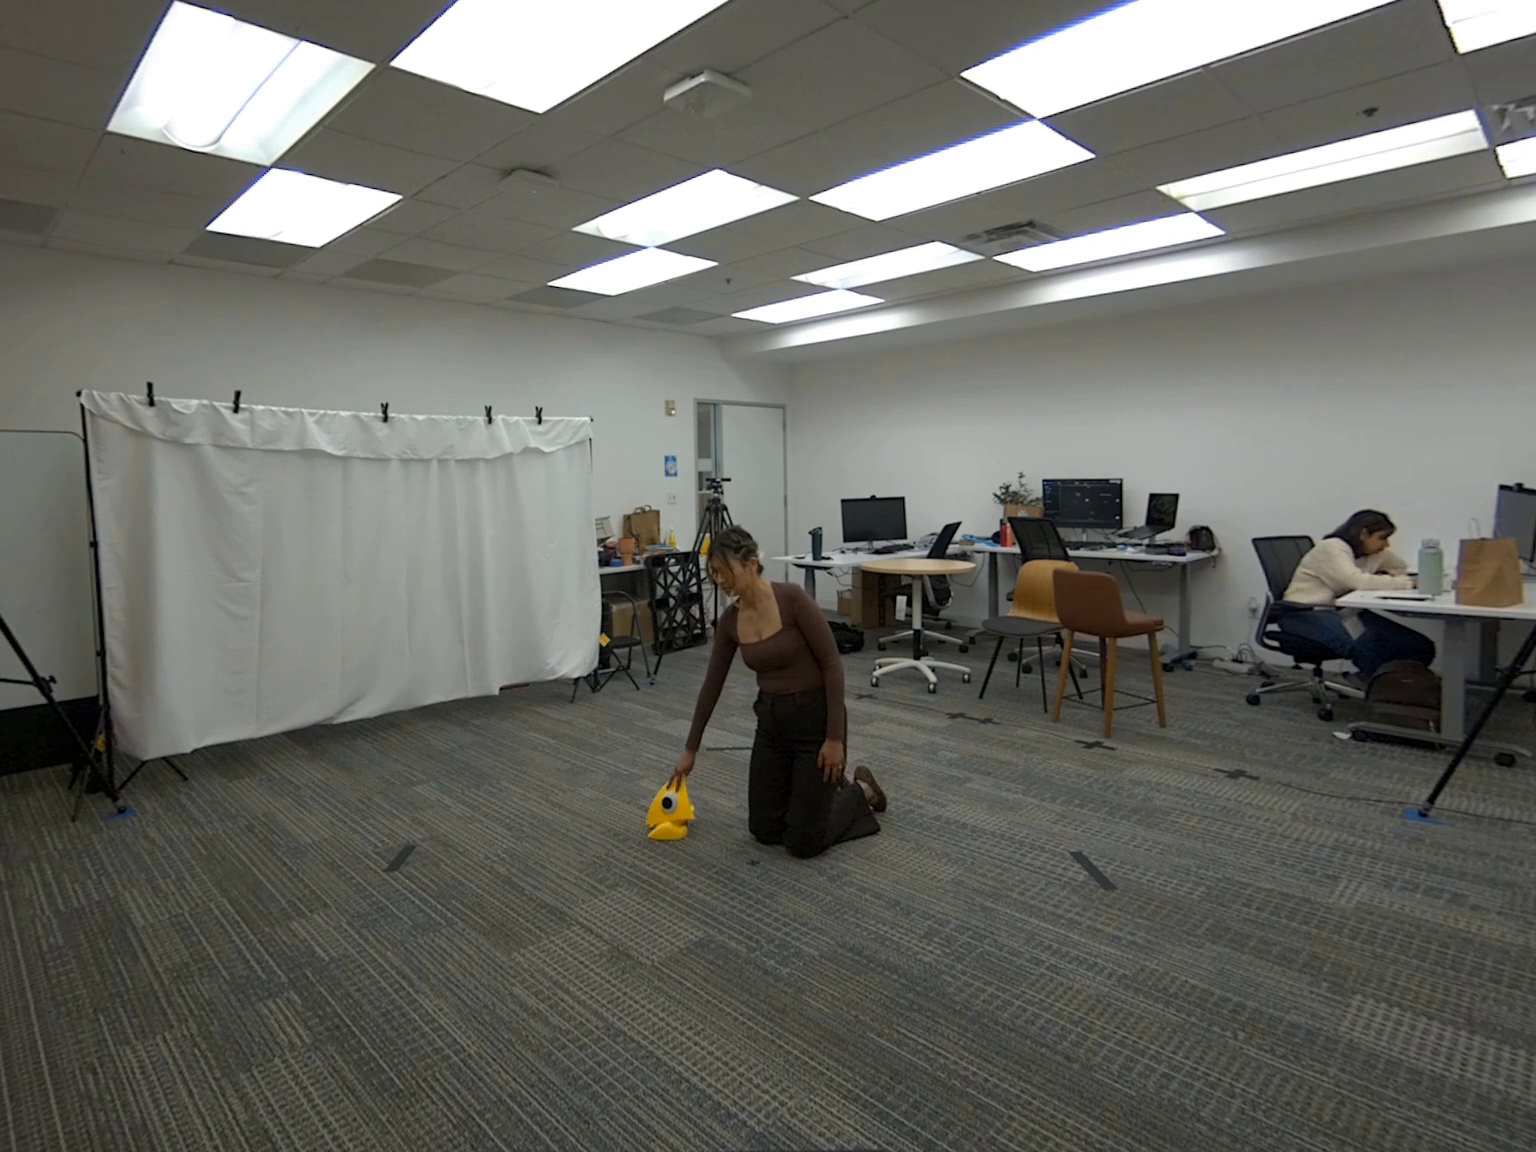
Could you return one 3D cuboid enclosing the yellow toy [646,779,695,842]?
[{"bbox_3d":[-0.388,0.899,3.405,0.192,0.230,0.207,-1,3,-8],"label":"yellow toy"}]
